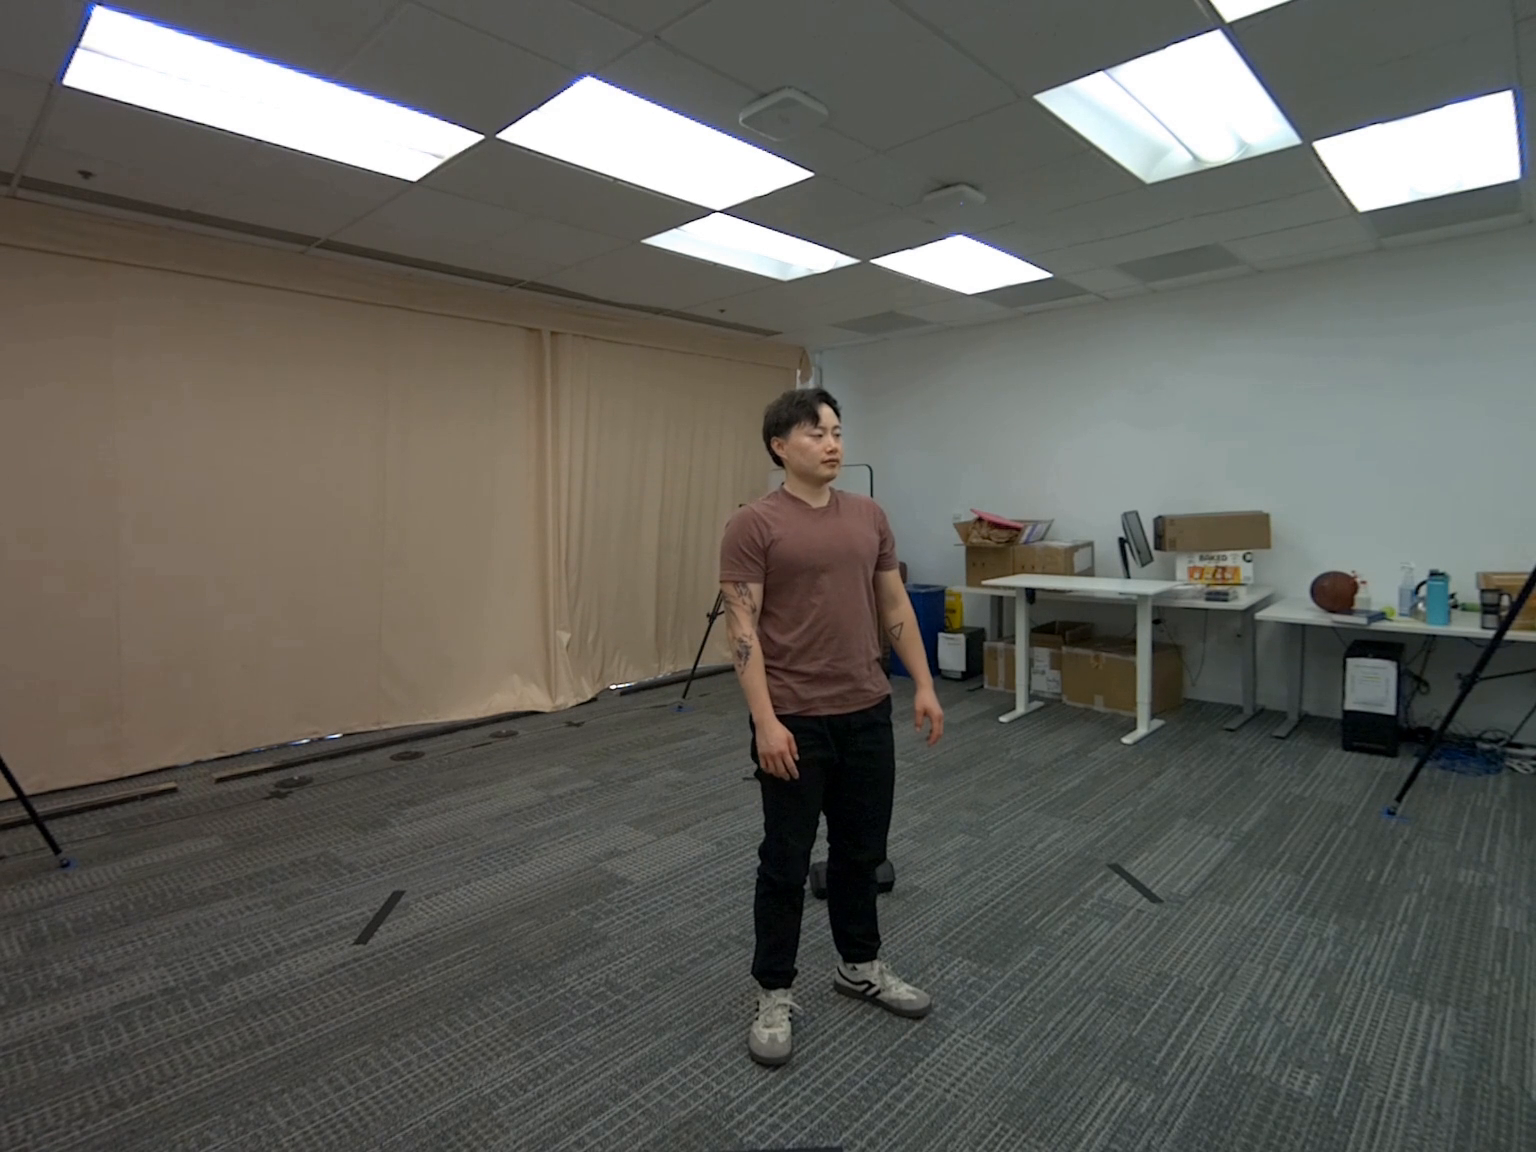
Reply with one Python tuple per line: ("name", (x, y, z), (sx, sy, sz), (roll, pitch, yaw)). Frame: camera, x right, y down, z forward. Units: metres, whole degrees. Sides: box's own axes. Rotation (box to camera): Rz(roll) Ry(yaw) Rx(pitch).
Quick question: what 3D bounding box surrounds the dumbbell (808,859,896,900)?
("dumbbell", (0.303, 1.079, 3.005), (0.291, 0.125, 0.108), (-2, -26, -10))
